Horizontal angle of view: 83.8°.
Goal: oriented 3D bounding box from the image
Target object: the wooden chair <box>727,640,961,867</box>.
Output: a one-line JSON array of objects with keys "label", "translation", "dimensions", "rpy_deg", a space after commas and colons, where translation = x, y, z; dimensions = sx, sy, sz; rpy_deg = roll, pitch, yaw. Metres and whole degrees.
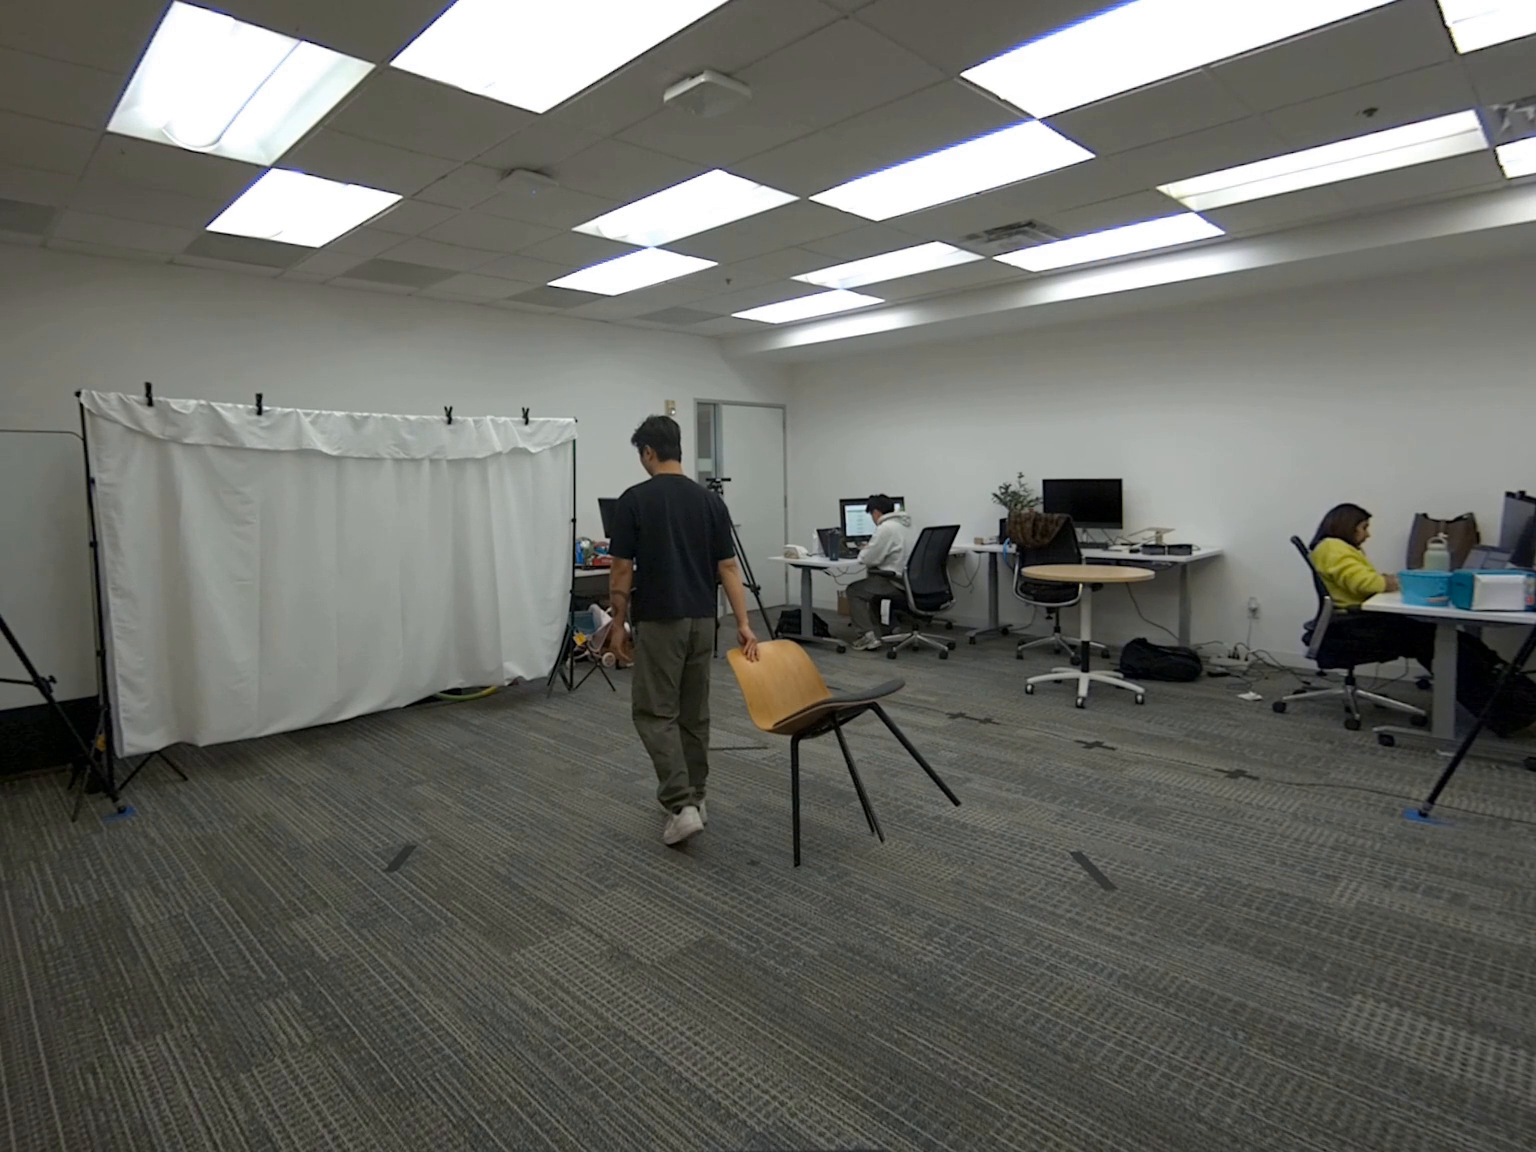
[{"label": "wooden chair", "translation": [0.247, 0.540, 3.171], "dimensions": [0.465, 0.899, 0.524], "rpy_deg": [-4, -28, -42]}]
